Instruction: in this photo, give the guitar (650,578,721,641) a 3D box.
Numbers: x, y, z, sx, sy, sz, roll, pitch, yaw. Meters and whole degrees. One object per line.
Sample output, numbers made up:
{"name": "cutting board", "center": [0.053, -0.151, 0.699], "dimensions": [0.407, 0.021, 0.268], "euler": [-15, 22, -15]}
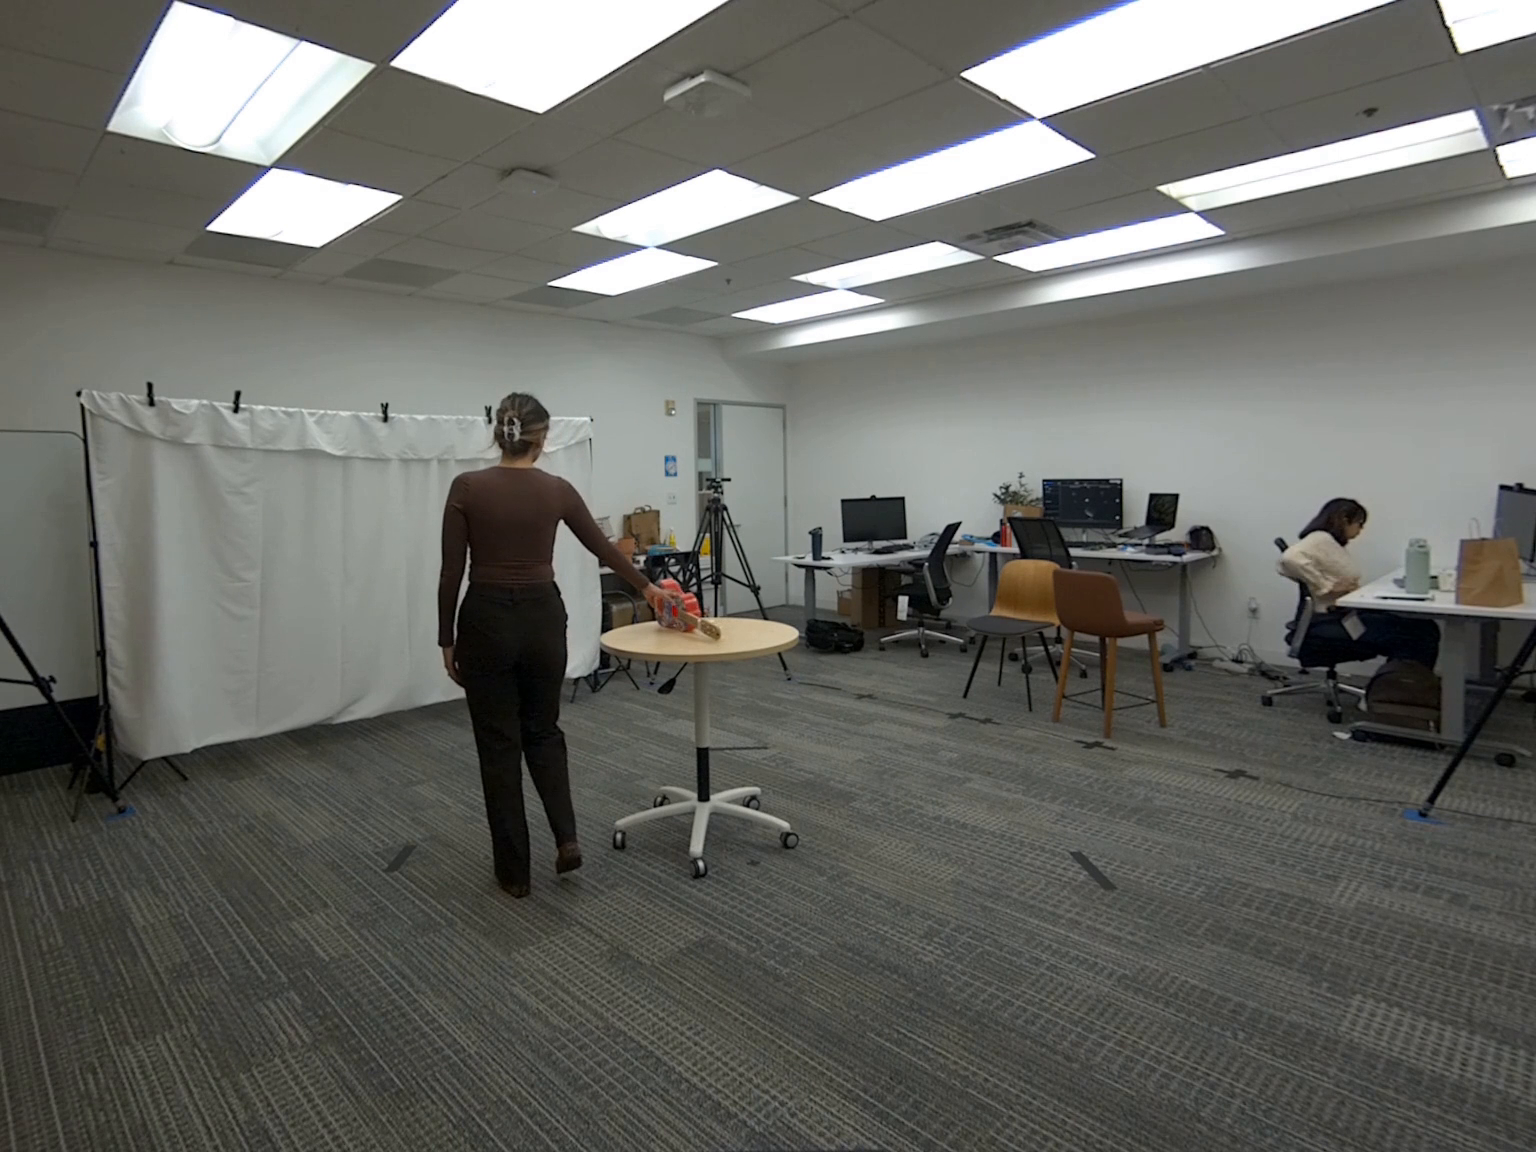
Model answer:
{"name": "guitar", "center": [-0.308, 0.181, 3.349], "dimensions": [0.069, 0.190, 0.517], "euler": [-10, 26, -32]}
